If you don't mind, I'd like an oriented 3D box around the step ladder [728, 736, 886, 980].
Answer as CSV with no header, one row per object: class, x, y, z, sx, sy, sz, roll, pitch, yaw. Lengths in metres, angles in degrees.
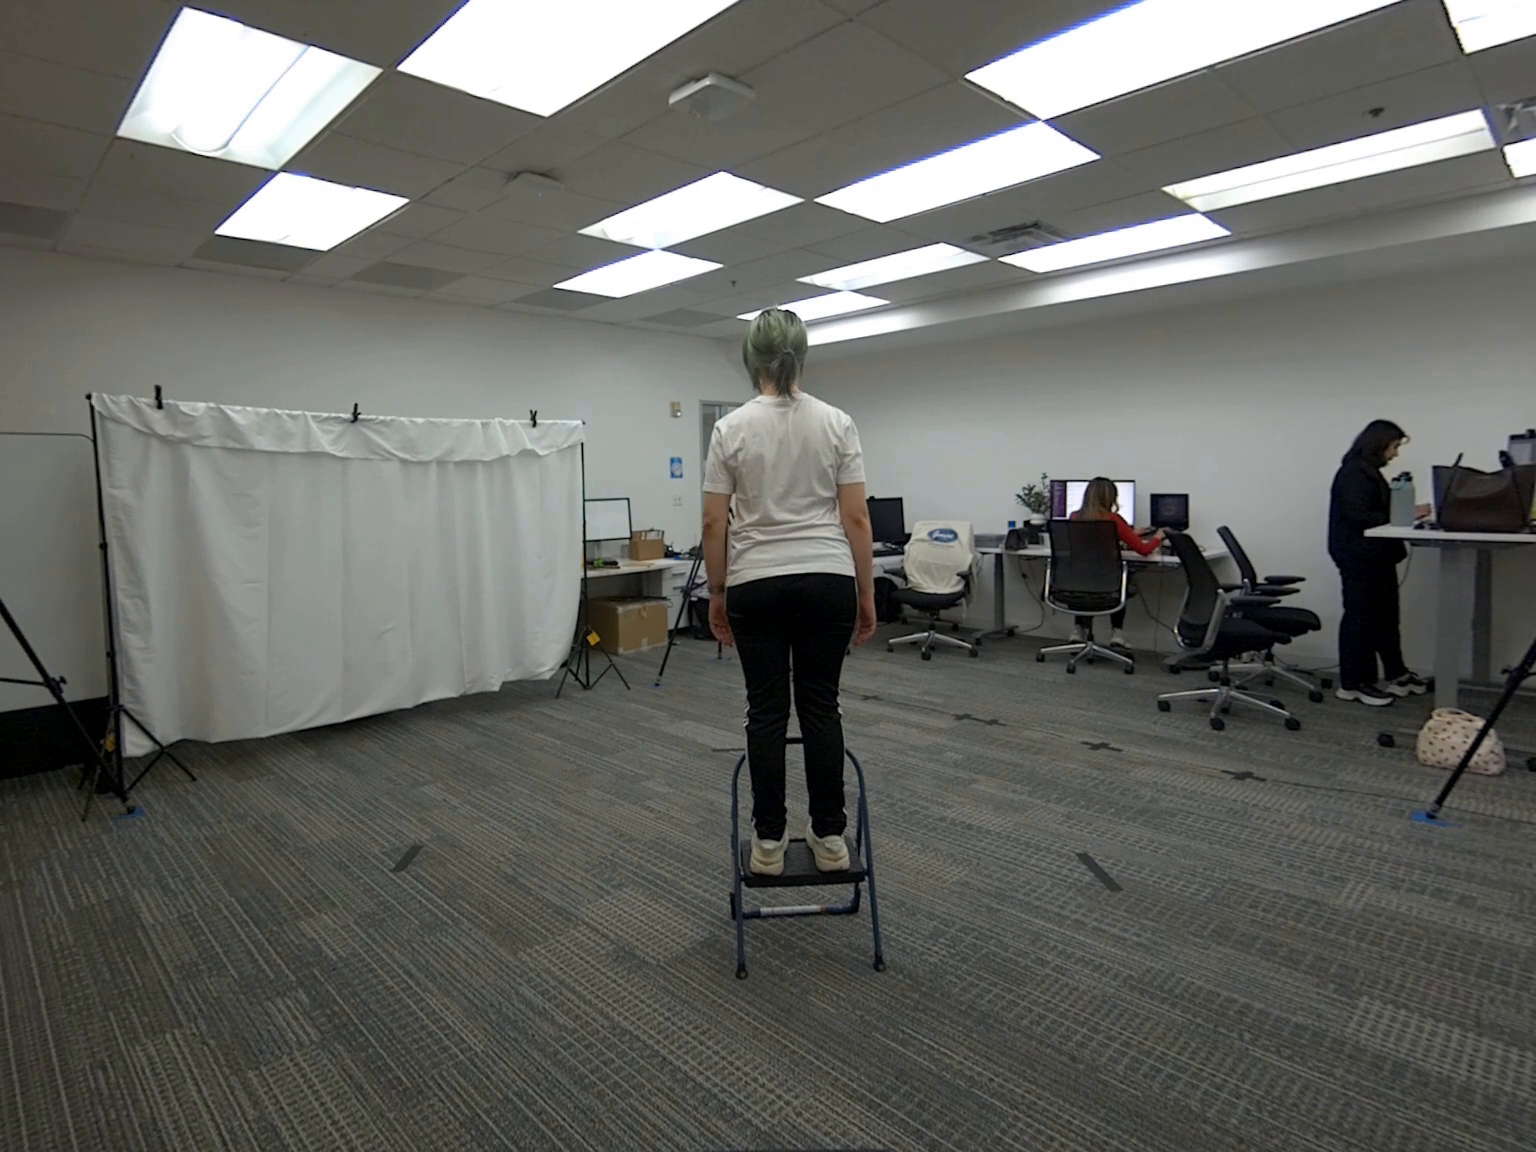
step ladder,0.104,0.809,2.565,0.429,0.603,0.352,-2,5,-5
